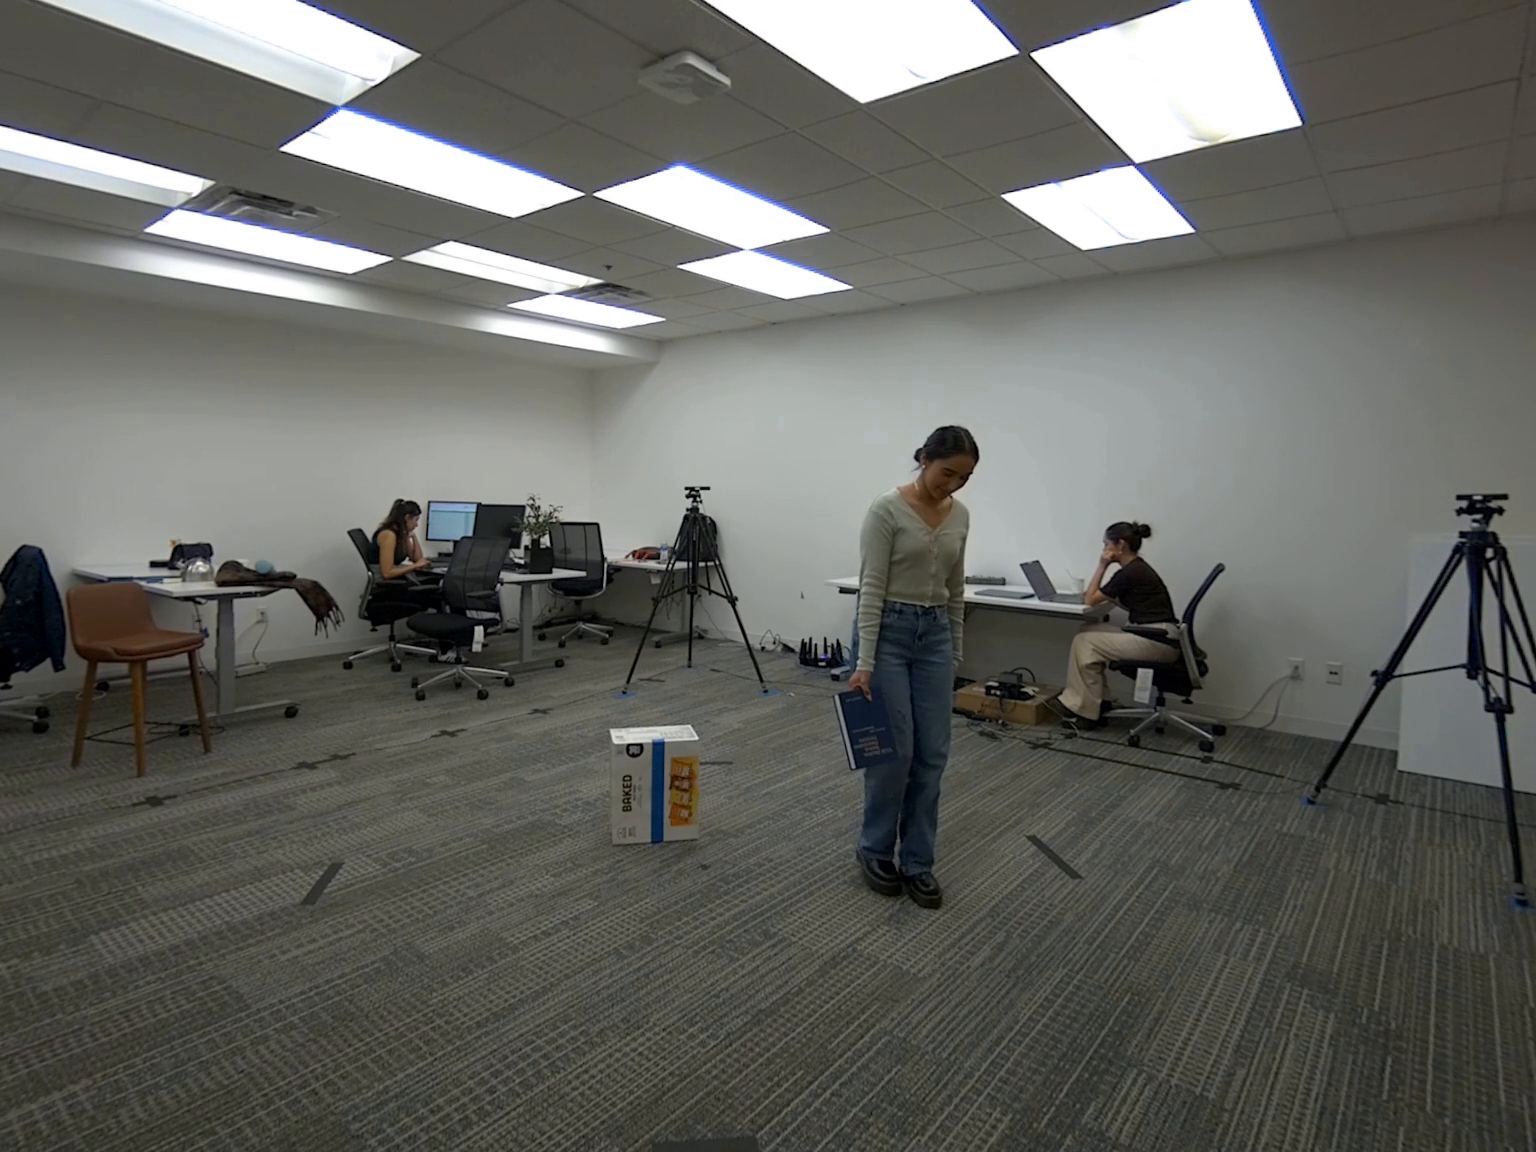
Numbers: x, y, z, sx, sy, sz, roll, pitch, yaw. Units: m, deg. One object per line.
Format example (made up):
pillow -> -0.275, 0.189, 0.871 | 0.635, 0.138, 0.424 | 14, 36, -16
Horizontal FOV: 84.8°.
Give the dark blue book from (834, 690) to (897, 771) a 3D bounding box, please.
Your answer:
dark blue book -> 0.309, 0.491, 2.765 | 0.160, 0.249, 0.045 | -7, -13, -21
